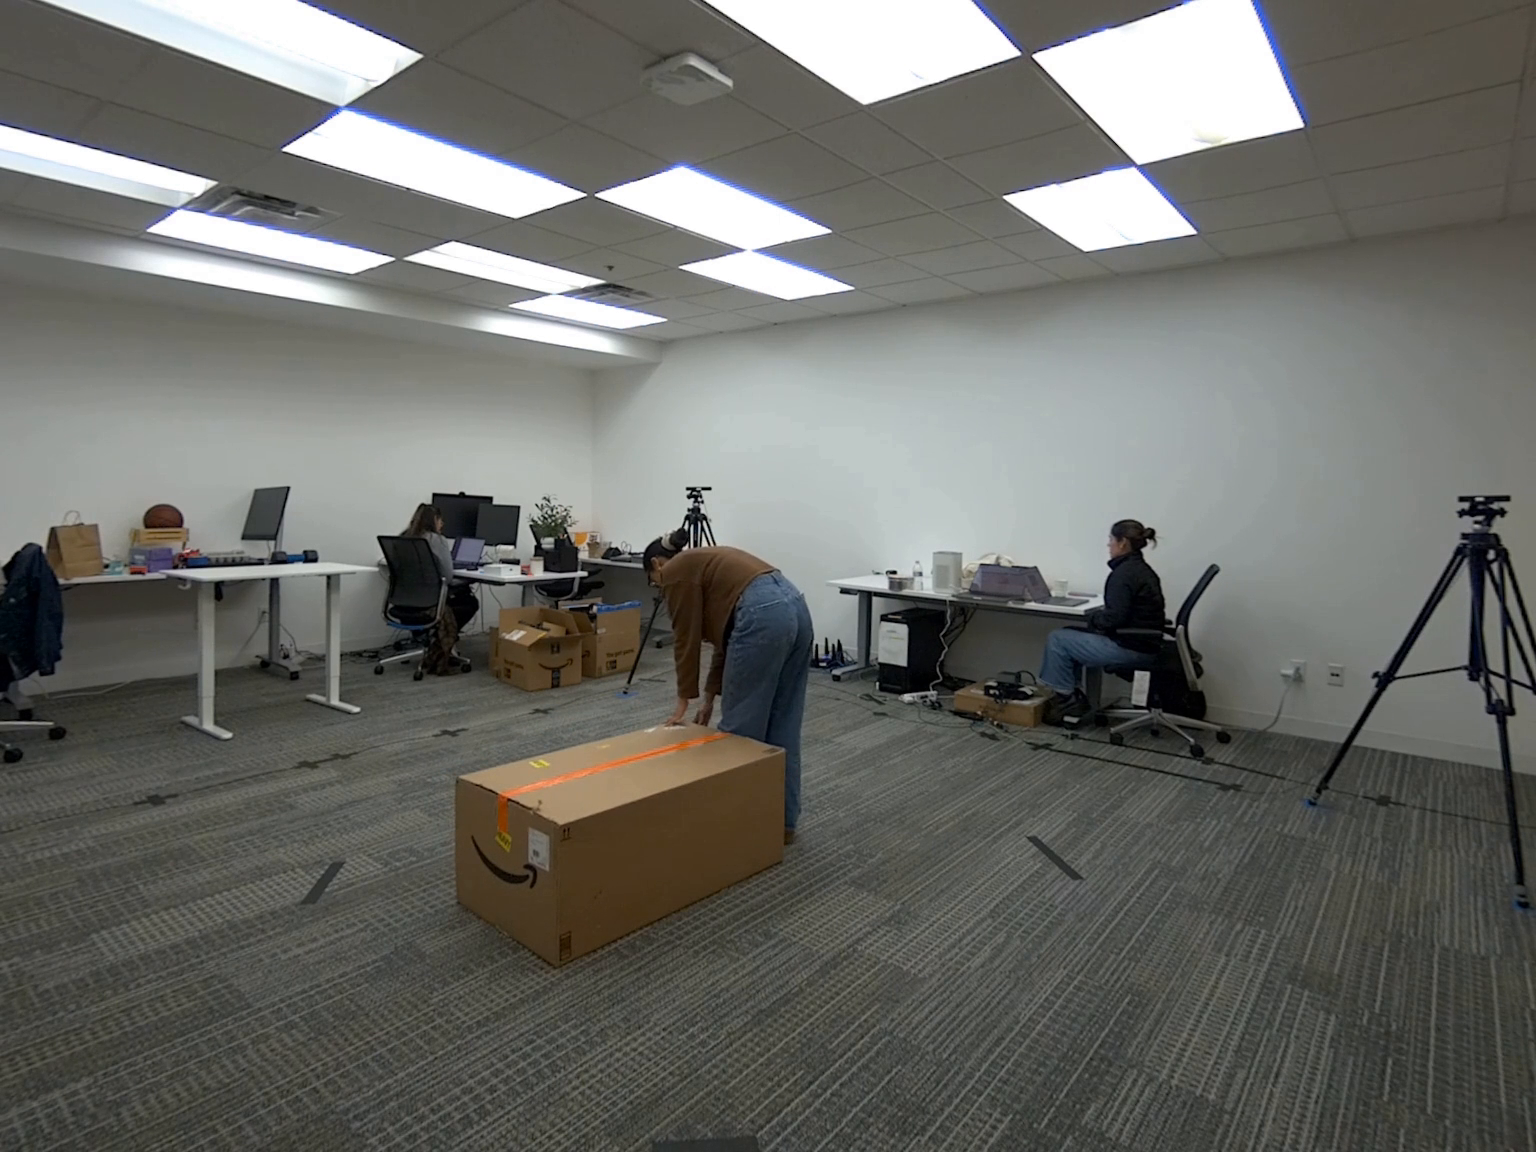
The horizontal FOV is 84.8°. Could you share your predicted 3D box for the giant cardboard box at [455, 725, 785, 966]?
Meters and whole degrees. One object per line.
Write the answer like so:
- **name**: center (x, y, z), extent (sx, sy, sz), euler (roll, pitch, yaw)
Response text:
- **giant cardboard box**: center (-0.504, 0.860, 2.987), extent (0.604, 0.445, 0.996), euler (6, 7, 42)
